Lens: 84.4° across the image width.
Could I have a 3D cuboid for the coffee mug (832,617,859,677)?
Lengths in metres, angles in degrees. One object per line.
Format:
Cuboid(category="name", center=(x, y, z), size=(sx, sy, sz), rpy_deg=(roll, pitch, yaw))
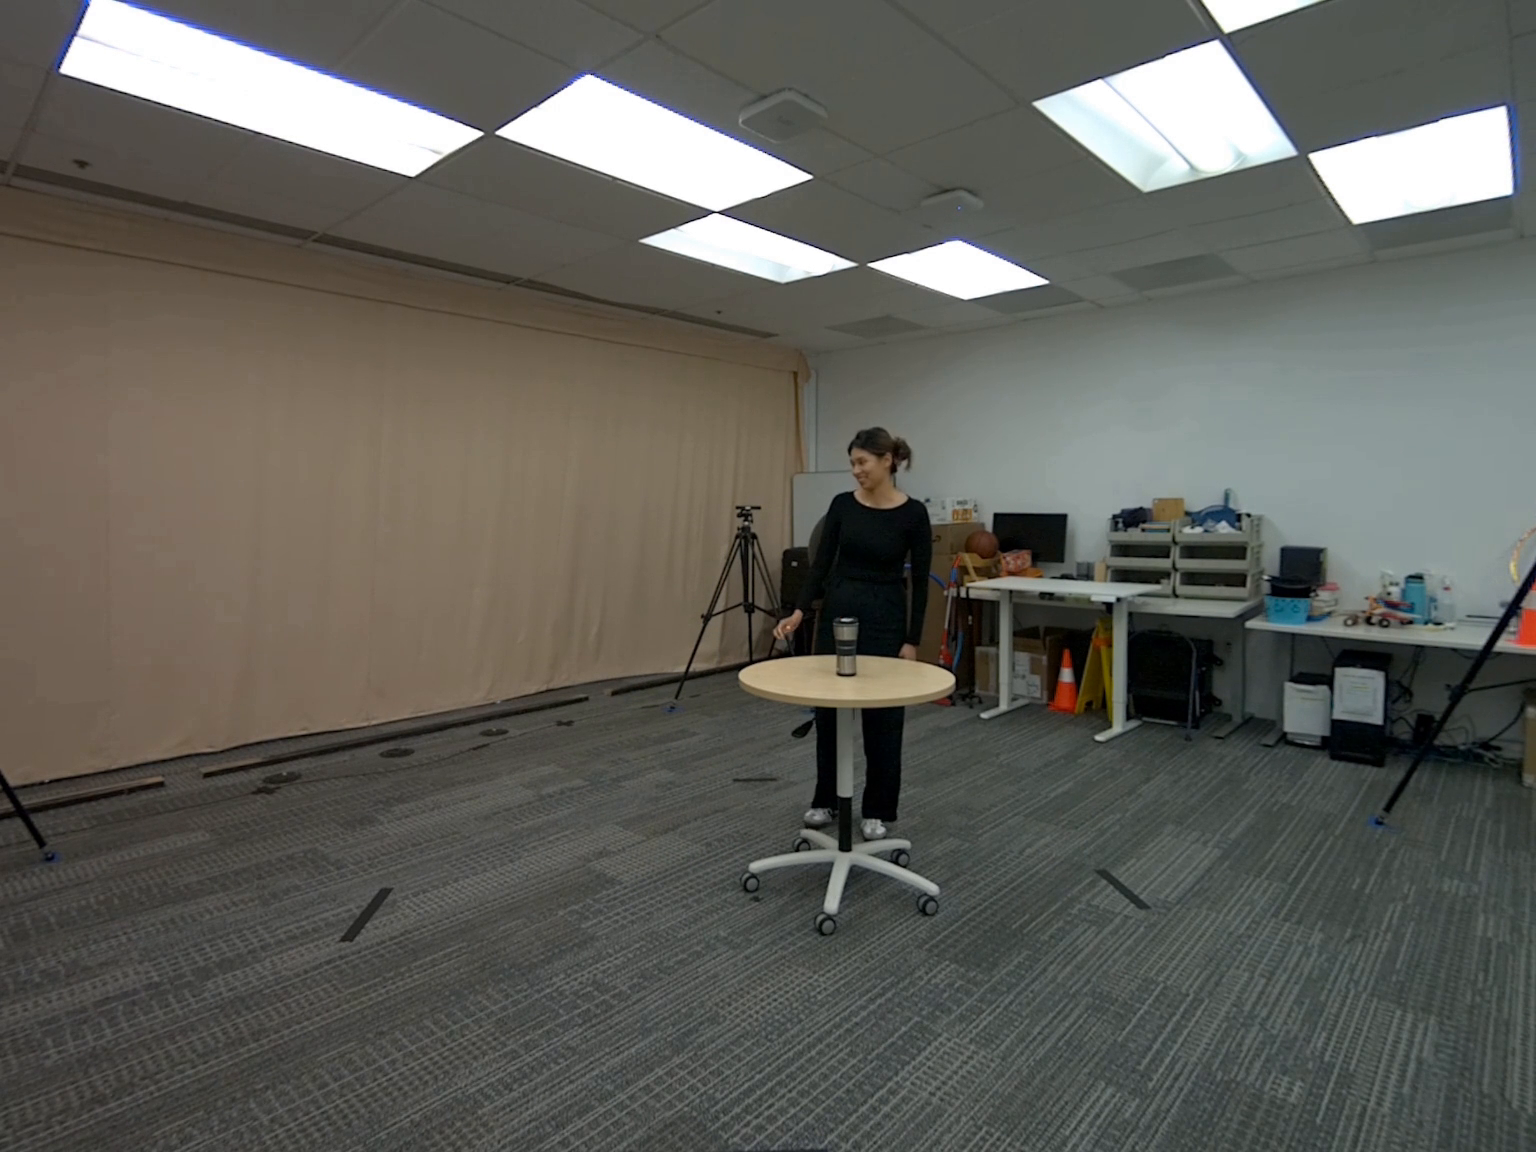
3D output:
Cuboid(category="coffee mug", center=(0.292, 0.256, 3.034), size=(0.118, 0.202, 0.090), rpy_deg=(-11, 4, -43))
